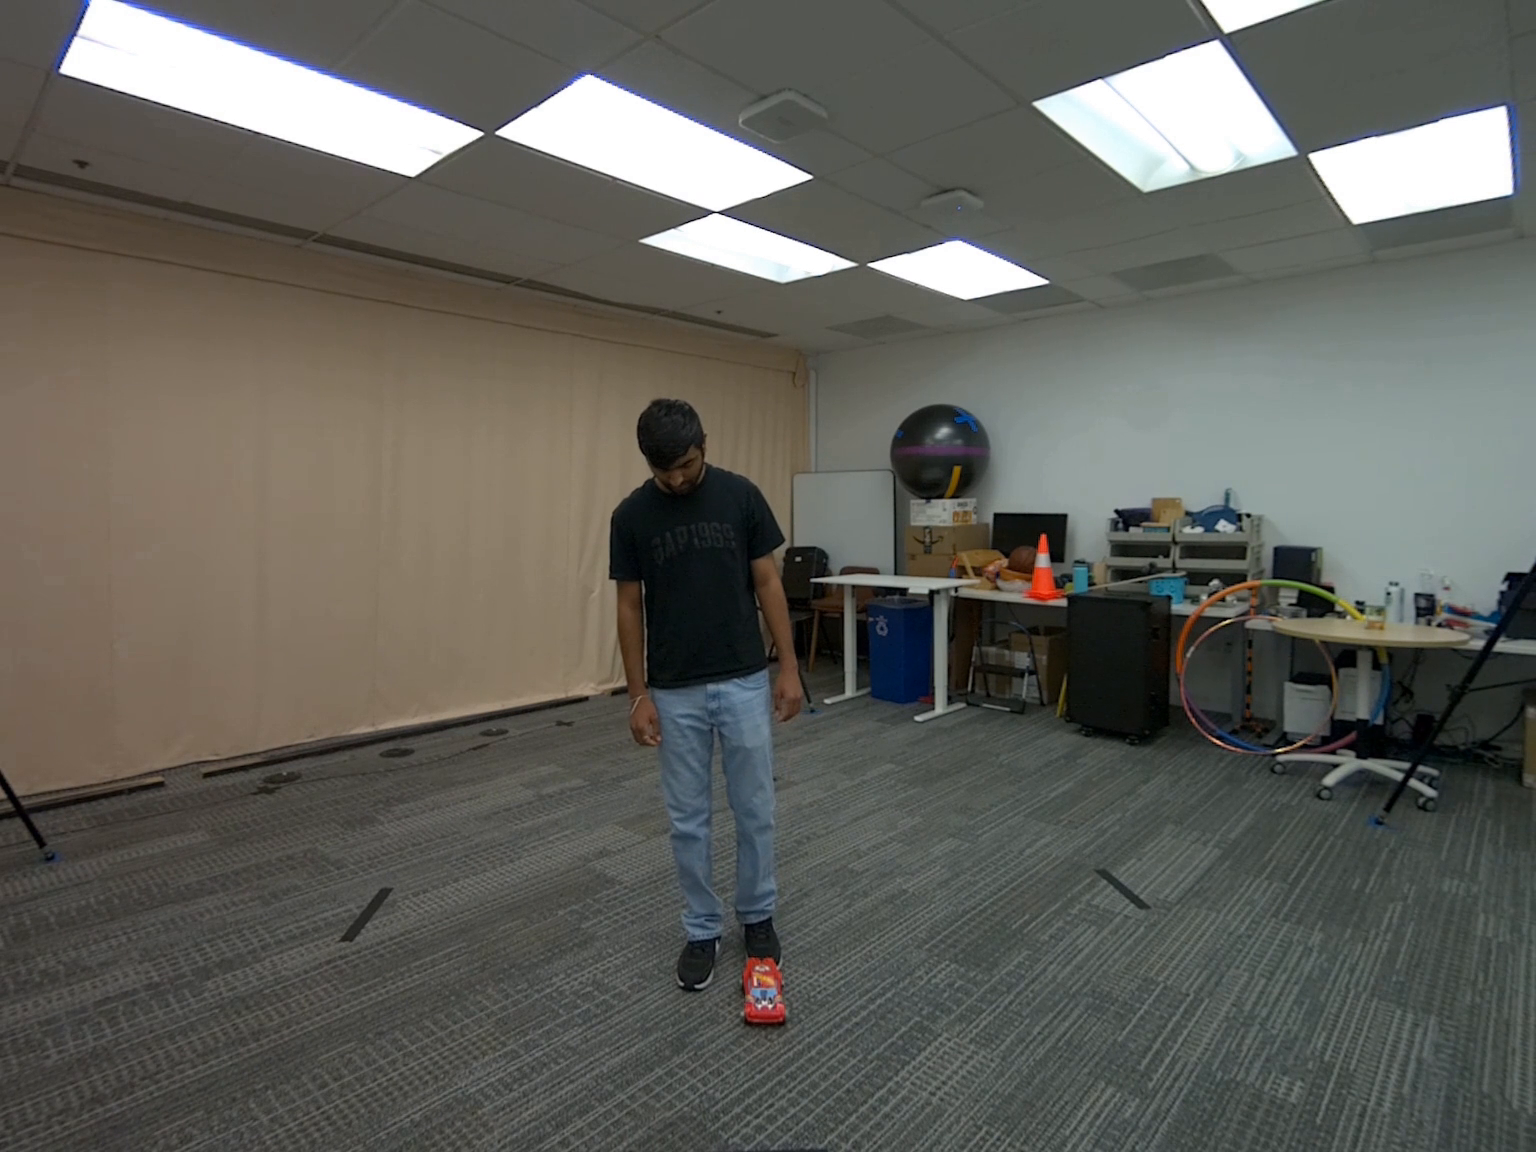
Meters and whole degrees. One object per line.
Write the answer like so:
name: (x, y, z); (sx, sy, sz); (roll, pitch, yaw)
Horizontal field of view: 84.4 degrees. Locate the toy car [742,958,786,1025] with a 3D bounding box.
toy car: (-0.016, 1.156, 2.361); (0.130, 0.082, 0.257); (-1, 16, -1)
